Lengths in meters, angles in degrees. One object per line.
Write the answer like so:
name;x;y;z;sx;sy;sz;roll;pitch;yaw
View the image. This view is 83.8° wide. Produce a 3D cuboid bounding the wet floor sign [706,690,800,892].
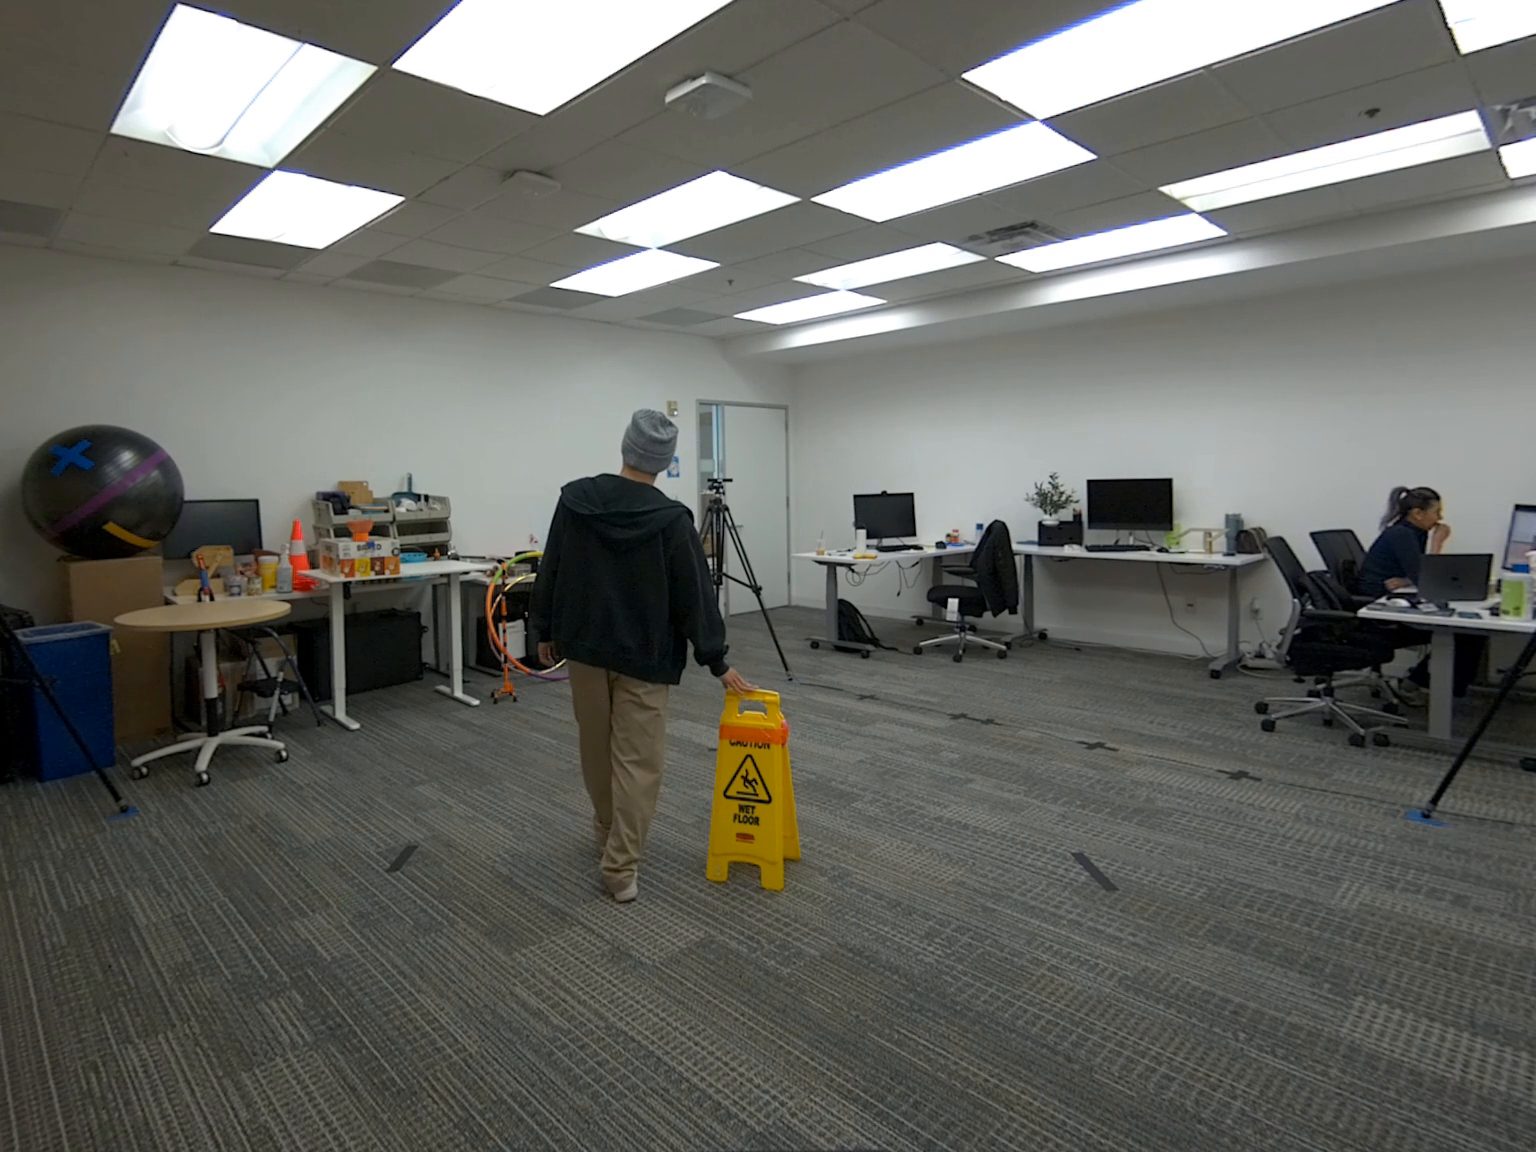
wet floor sign;-0.056;0.726;3.032;0.287;0.644;0.286;-1;4;16
